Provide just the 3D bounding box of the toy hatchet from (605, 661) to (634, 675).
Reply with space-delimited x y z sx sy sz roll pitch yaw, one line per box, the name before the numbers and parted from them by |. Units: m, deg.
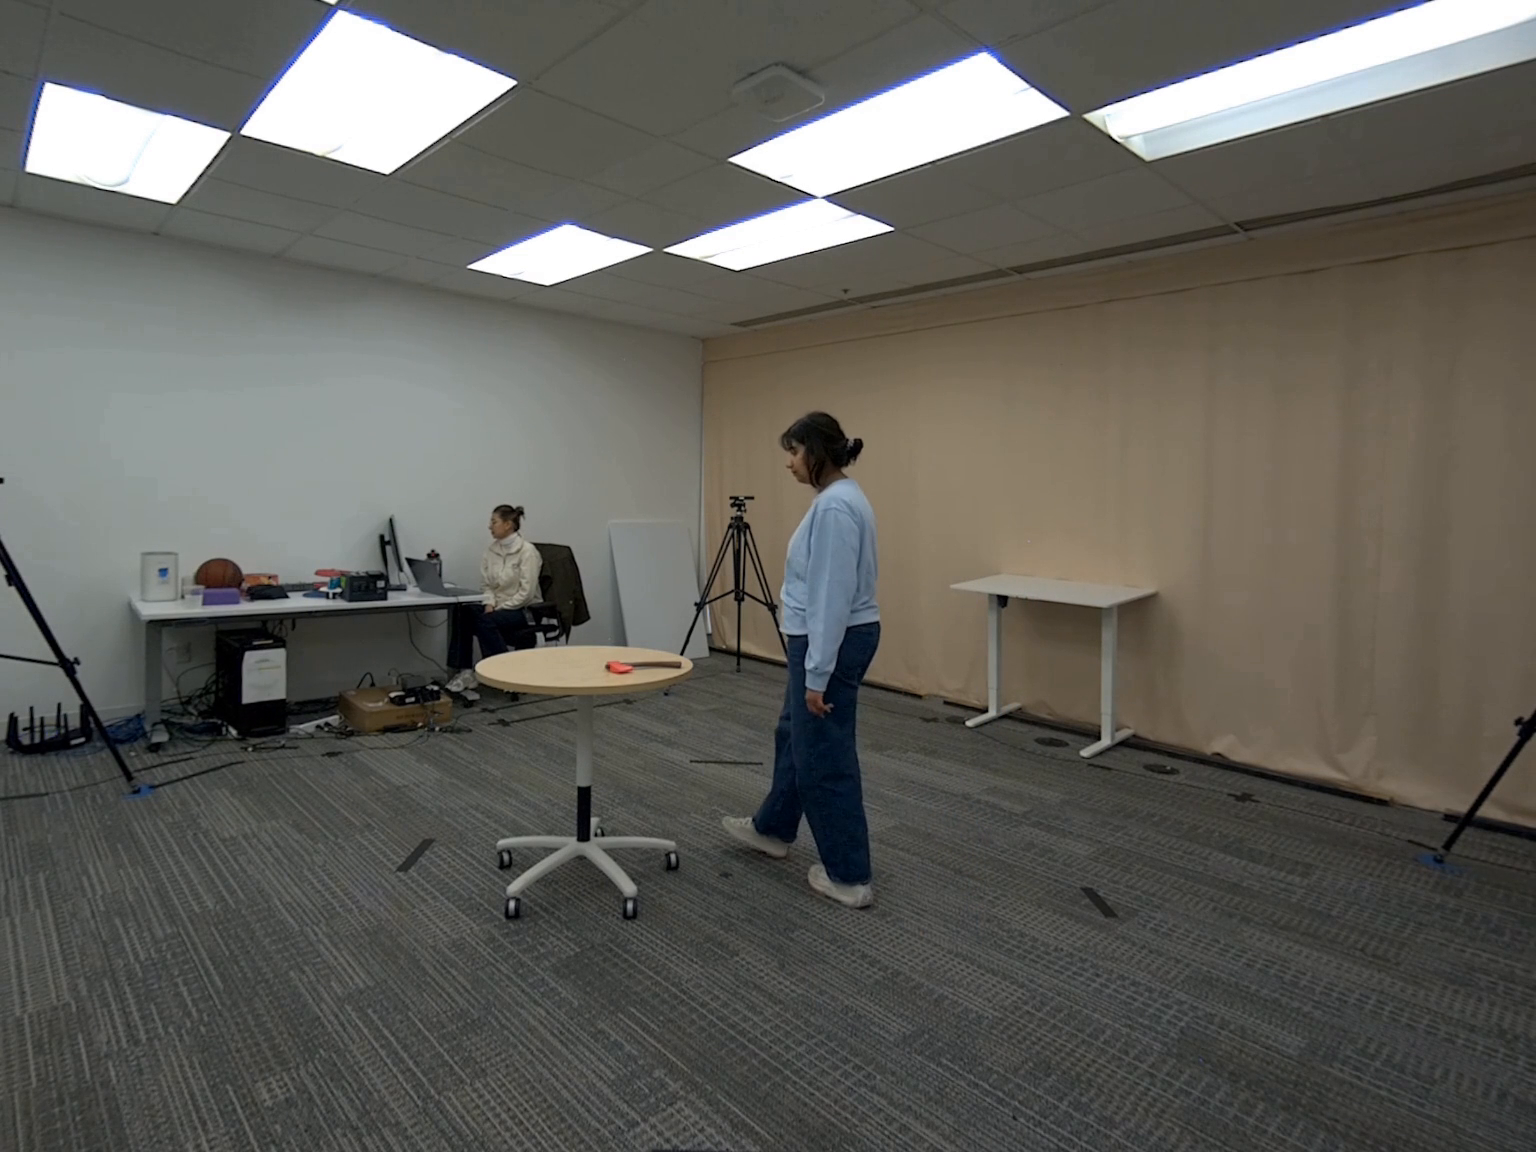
toy hatchet | -0.432 0.318 2.905 0.268 0.029 0.132 2 4 -7
